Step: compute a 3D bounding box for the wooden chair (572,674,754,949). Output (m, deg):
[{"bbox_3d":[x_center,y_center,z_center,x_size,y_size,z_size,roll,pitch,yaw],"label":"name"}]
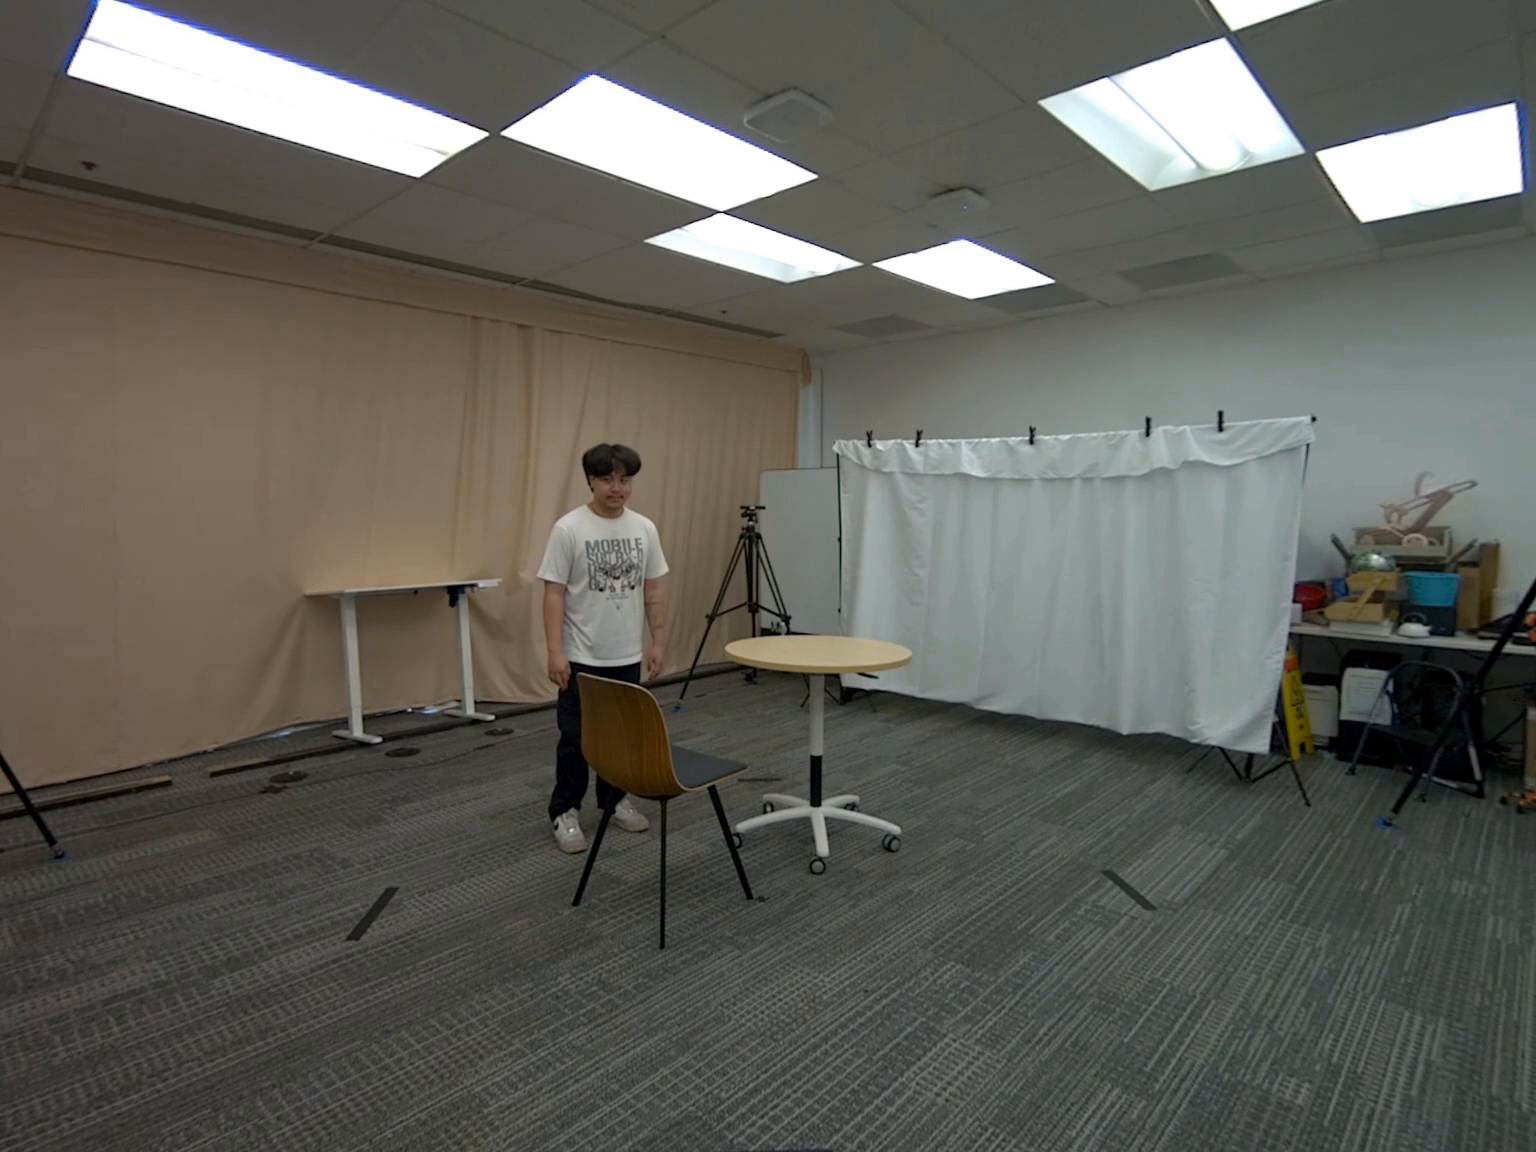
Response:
[{"bbox_3d":[-0.363,0.723,2.937,0.494,0.873,0.508,2,8,40],"label":"wooden chair"}]
